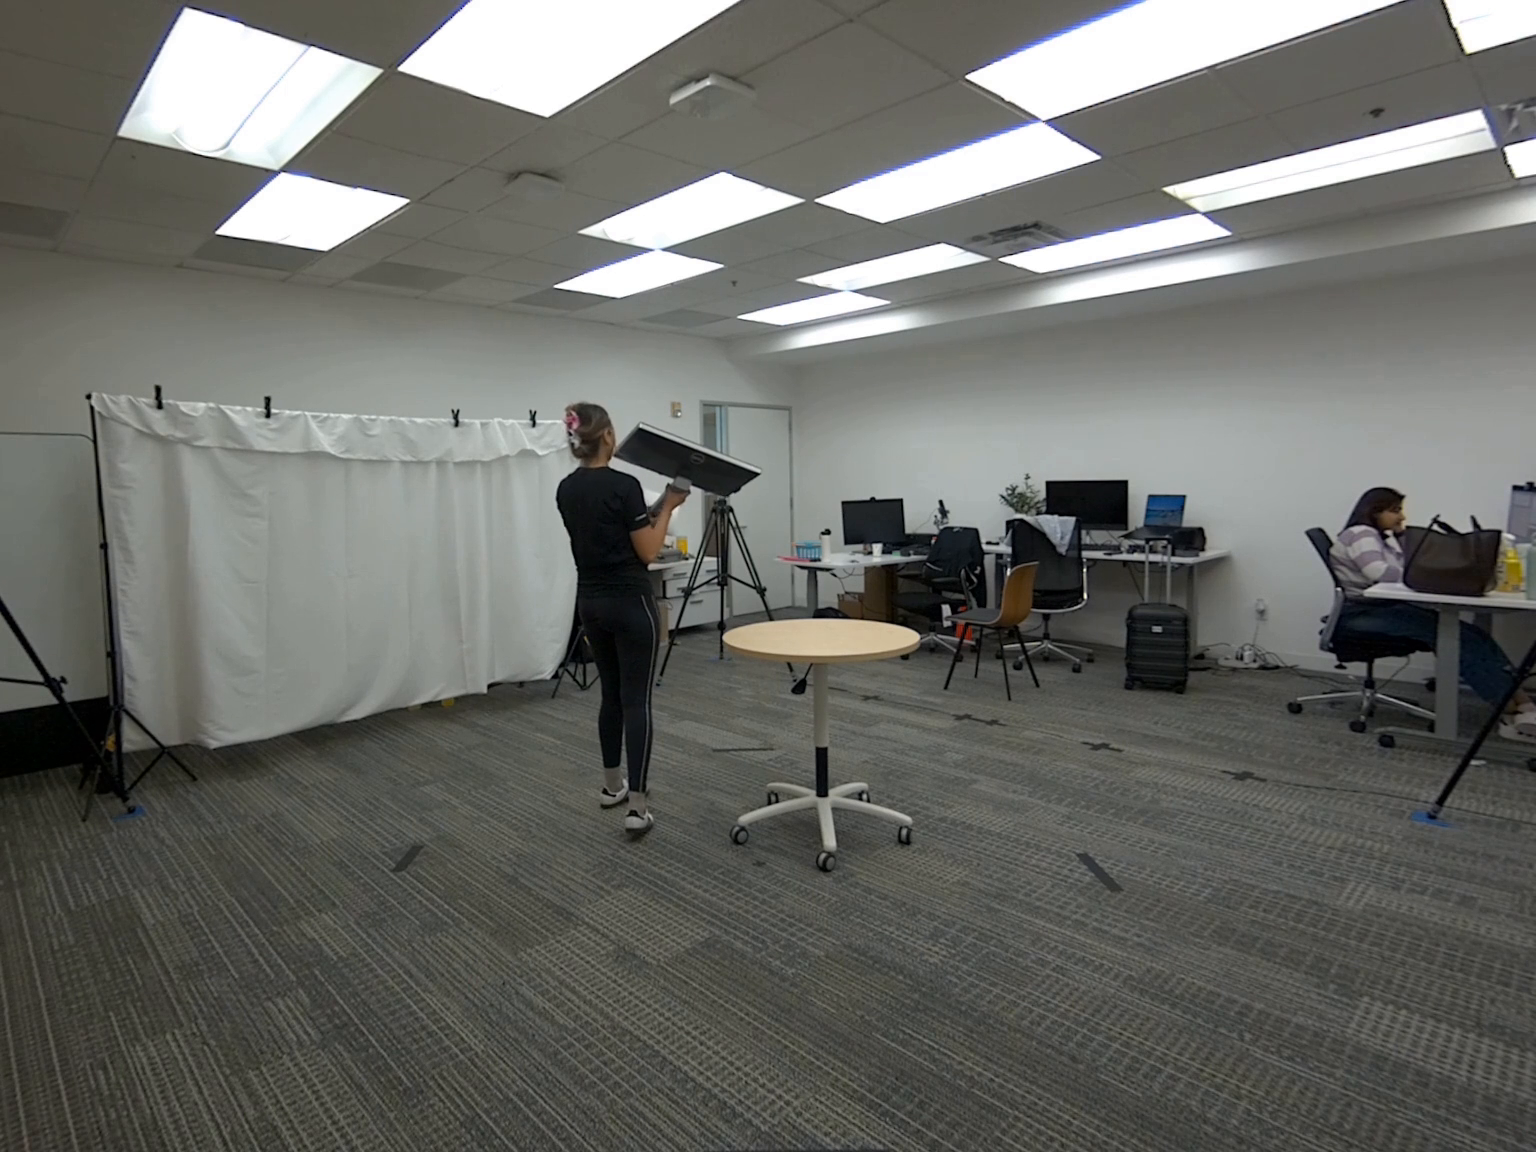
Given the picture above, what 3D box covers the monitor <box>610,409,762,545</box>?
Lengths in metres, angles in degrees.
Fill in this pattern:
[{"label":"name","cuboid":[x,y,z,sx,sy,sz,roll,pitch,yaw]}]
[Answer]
[{"label":"monitor","cuboid":[-0.398,-0.411,3.701,0.525,0.191,0.524,18,-34,-24]}]
